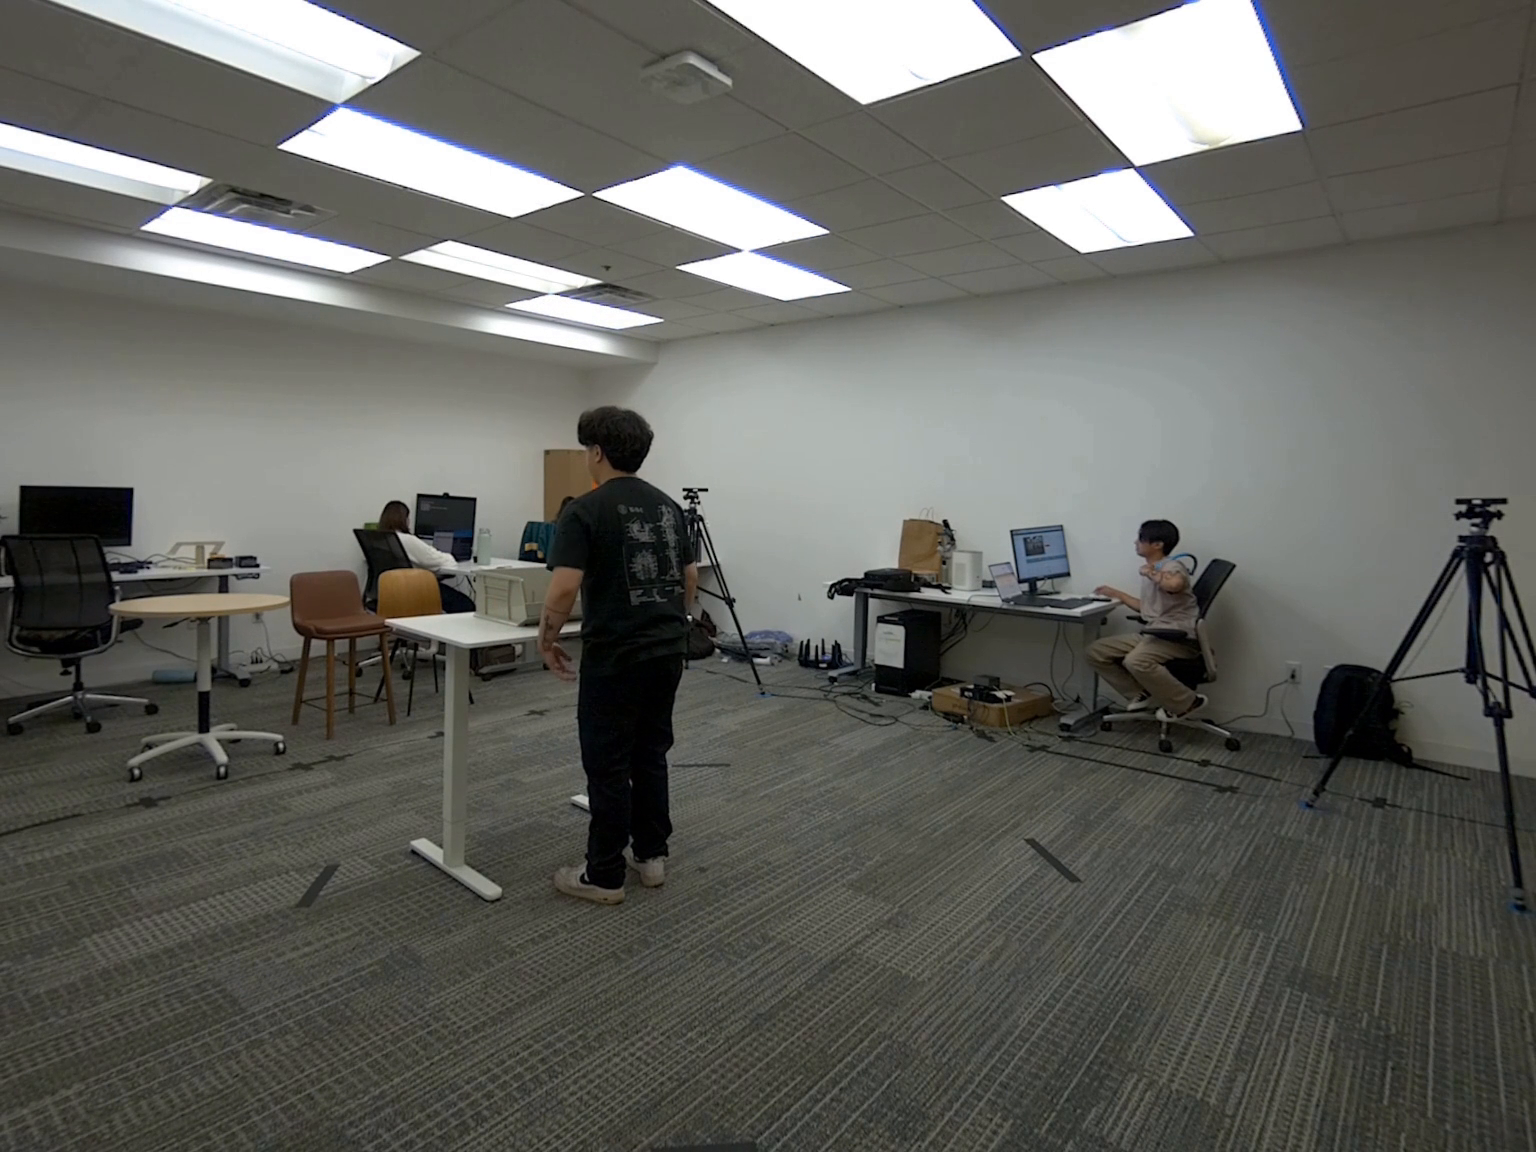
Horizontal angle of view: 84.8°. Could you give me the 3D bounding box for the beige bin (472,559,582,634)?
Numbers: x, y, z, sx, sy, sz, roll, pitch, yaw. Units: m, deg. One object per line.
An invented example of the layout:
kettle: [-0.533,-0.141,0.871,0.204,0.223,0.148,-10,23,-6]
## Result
beige bin: [-0.871,0.071,3.282,0.390,0.188,0.410,5,7,43]
